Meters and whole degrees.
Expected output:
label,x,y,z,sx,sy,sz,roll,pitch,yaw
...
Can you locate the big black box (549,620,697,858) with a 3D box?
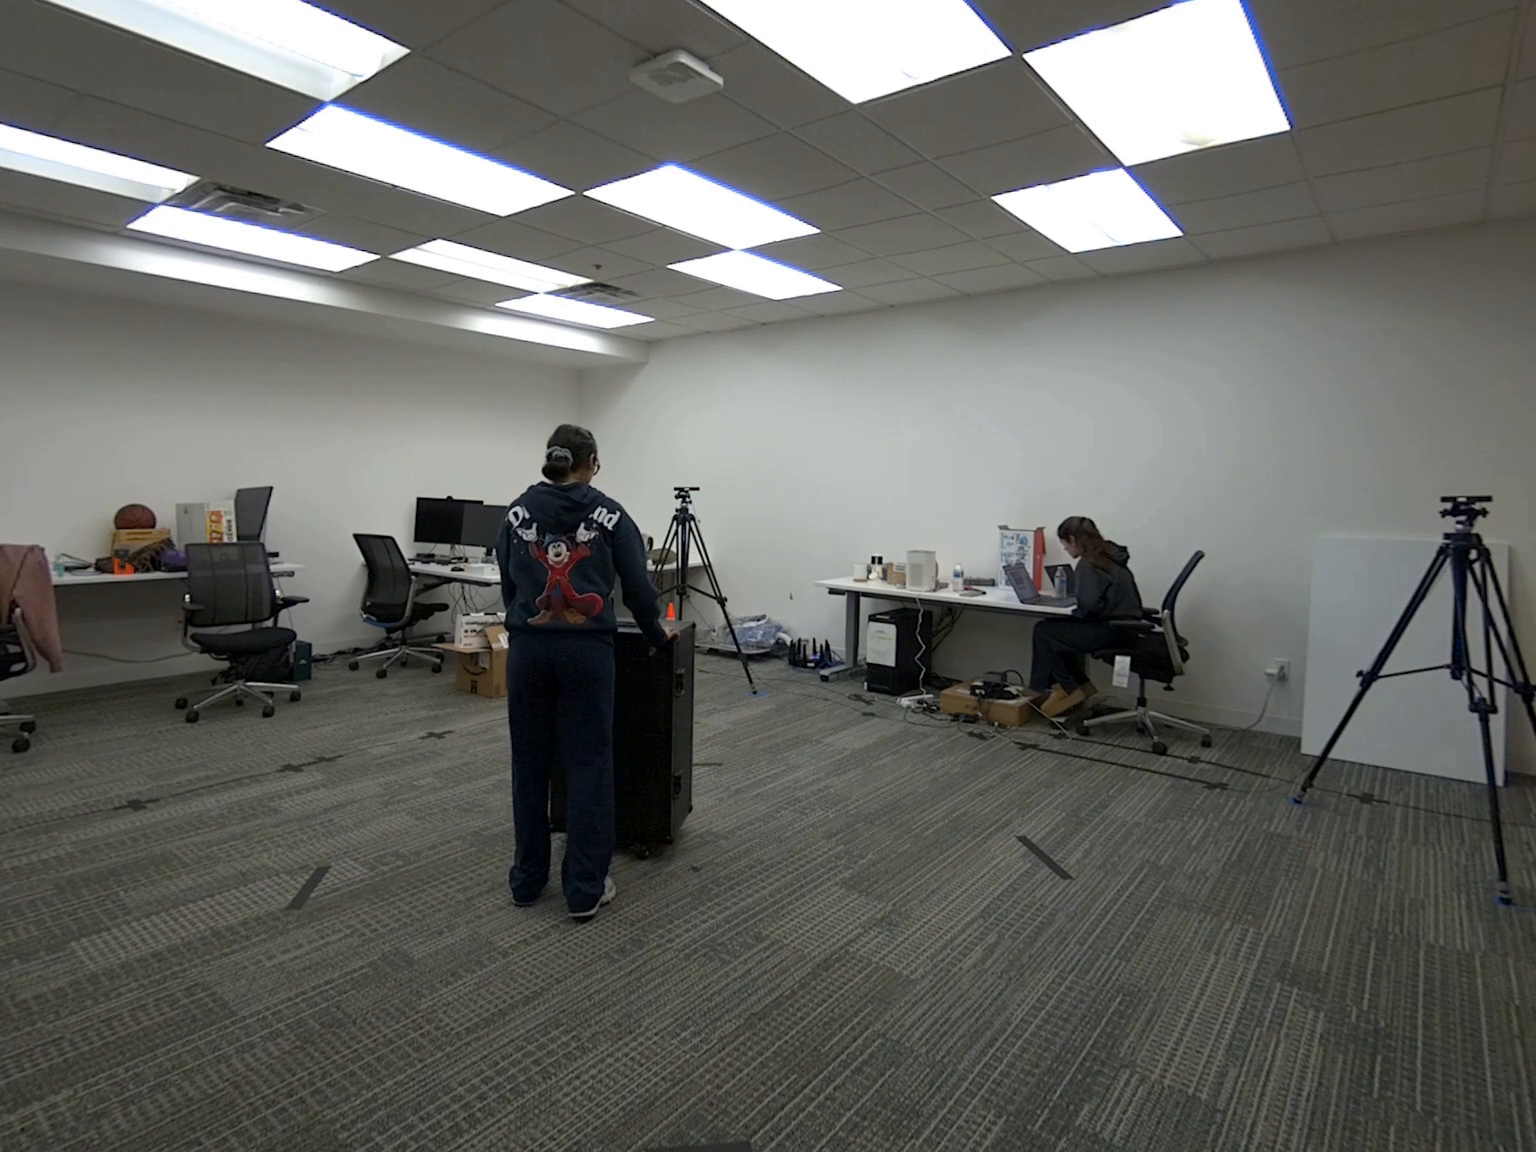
label,x,y,z,sx,sy,sz,roll,pitch,yaw
big black box,-0.573,0.615,3.366,0.528,0.860,0.392,1,2,11
